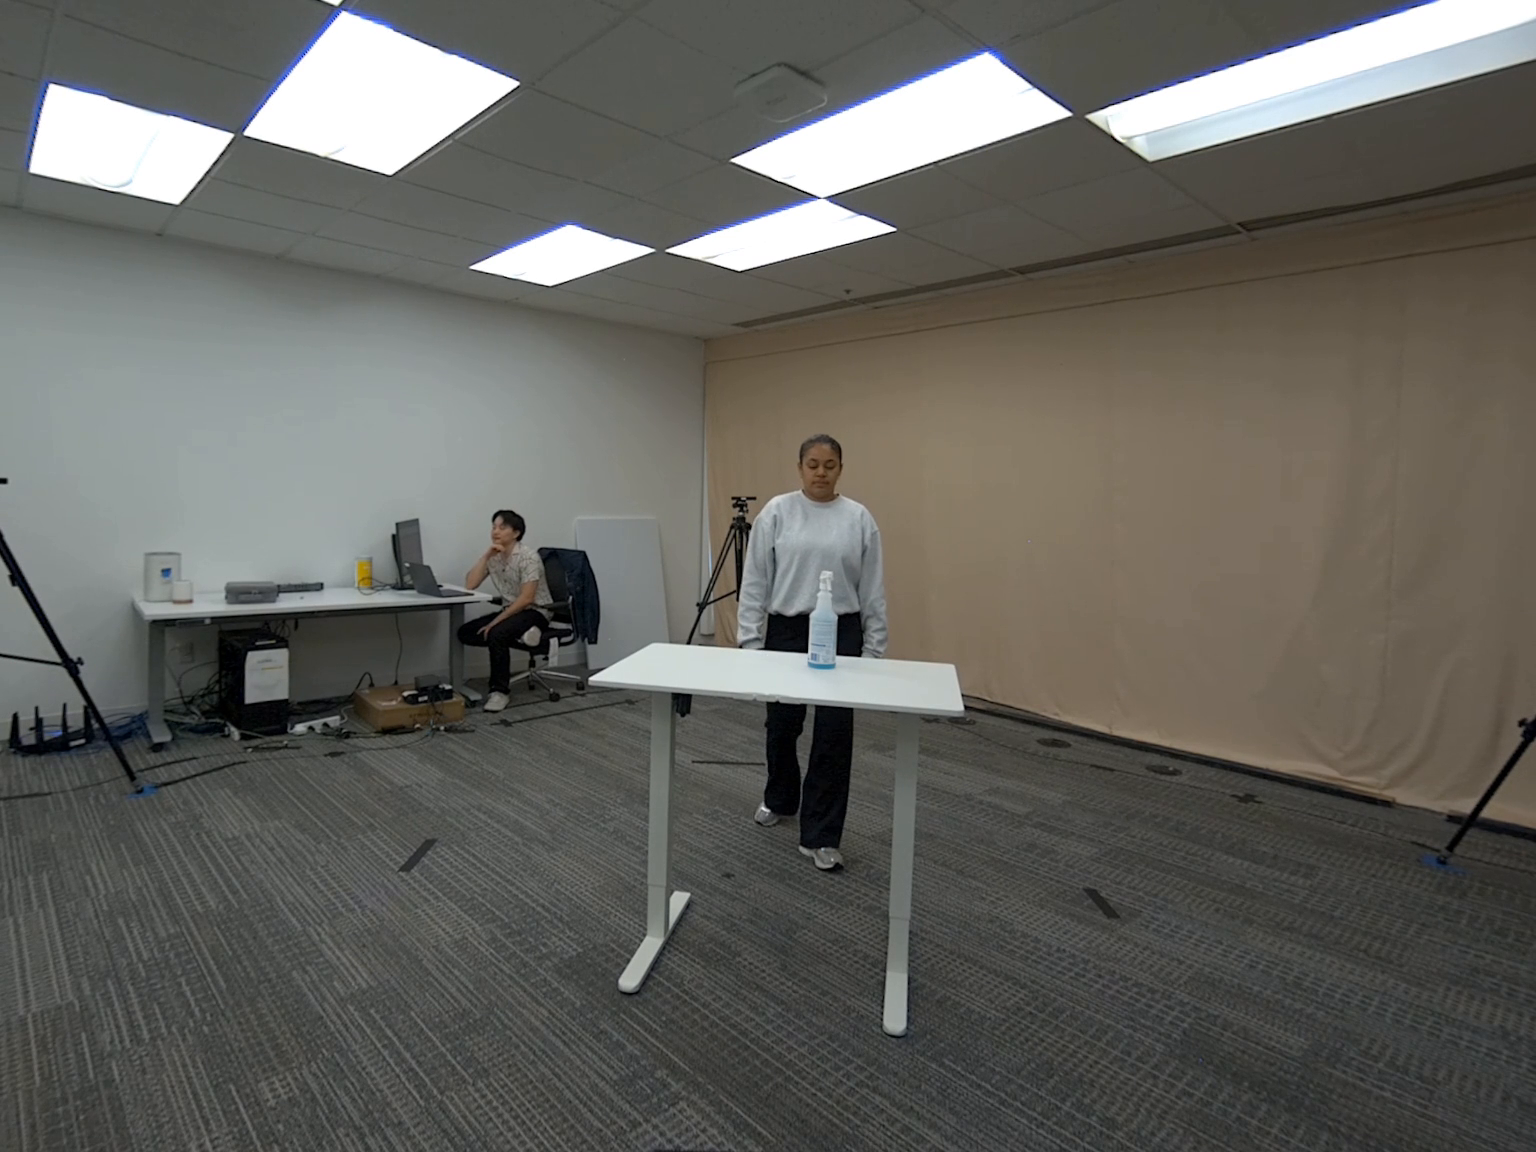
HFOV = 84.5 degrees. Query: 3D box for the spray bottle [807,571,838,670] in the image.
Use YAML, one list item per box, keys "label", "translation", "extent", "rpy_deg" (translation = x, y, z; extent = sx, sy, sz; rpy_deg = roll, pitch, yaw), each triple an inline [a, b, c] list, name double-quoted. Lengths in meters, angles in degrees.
- label: "spray bottle"
  translation: [0.161, 0.136, 2.576]
  extent: [0.088, 0.296, 0.089]
  rpy_deg: [3, 5, 13]
